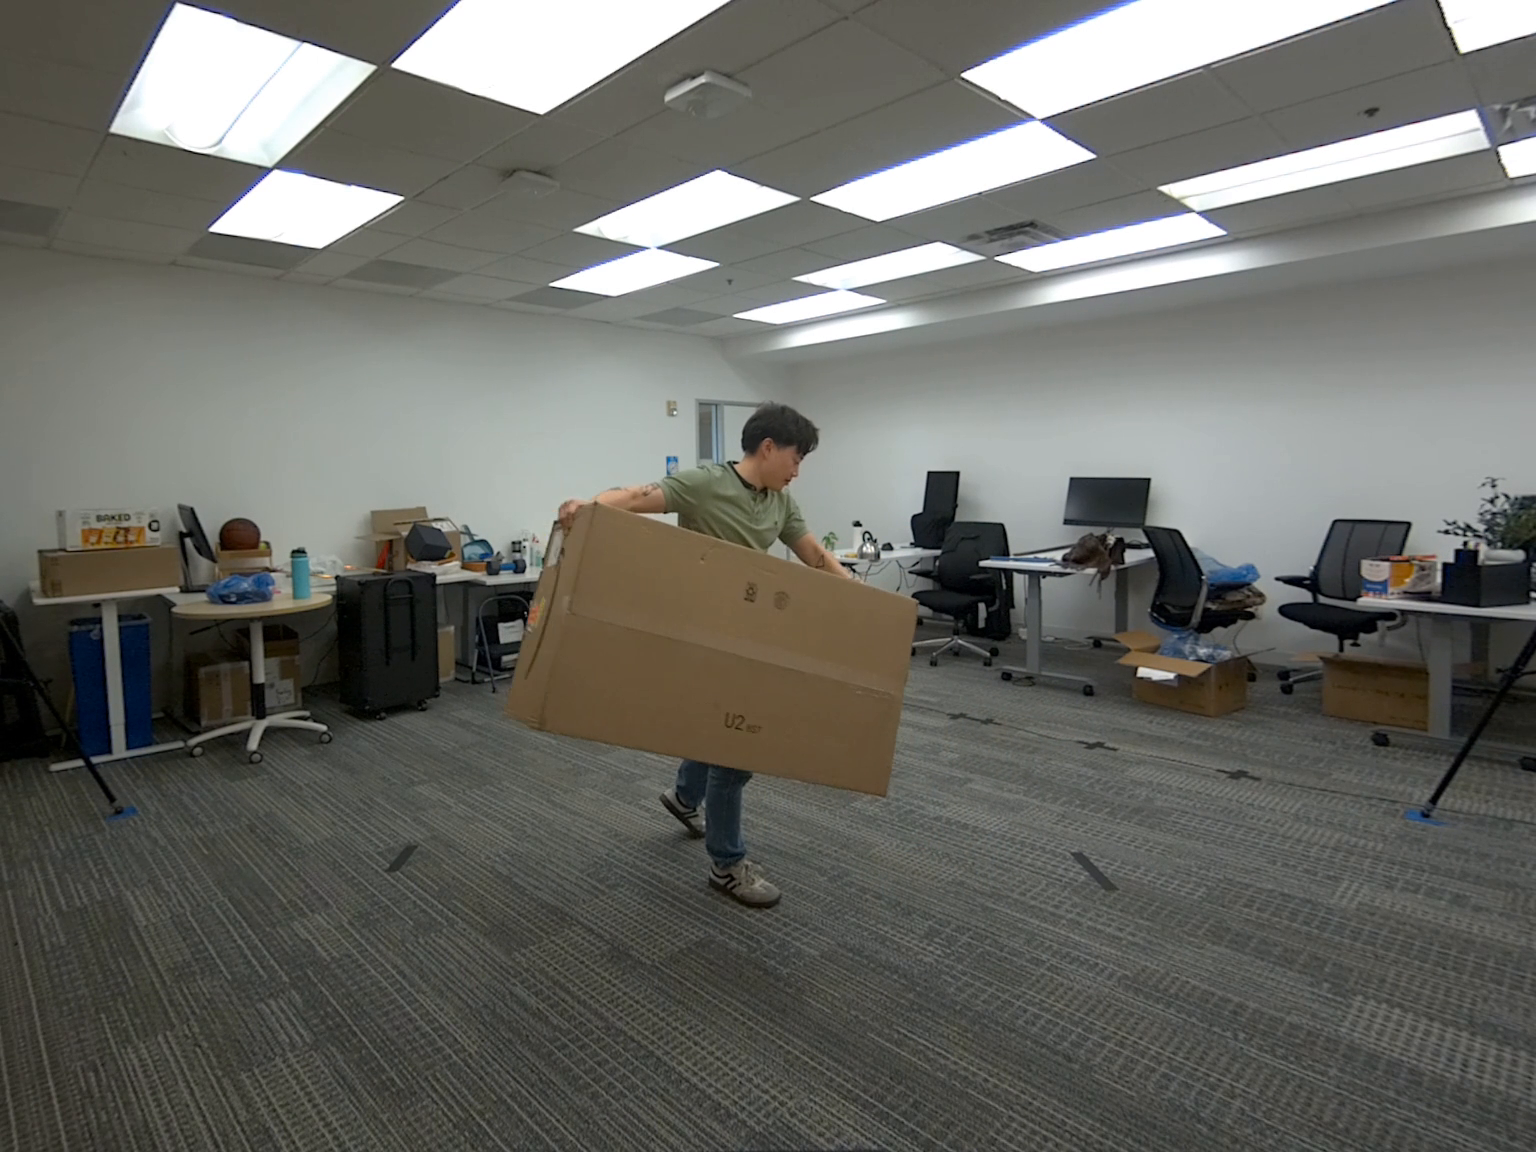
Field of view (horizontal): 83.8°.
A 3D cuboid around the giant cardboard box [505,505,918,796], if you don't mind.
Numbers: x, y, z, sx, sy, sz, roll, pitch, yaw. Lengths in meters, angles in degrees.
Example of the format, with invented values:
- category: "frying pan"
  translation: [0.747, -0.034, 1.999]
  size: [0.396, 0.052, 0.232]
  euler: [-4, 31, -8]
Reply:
- category: "giant cardboard box"
  translation: [-0.137, 0.228, 2.448]
  size: [0.999, 0.583, 0.433]
  euler: [17, -14, -24]
